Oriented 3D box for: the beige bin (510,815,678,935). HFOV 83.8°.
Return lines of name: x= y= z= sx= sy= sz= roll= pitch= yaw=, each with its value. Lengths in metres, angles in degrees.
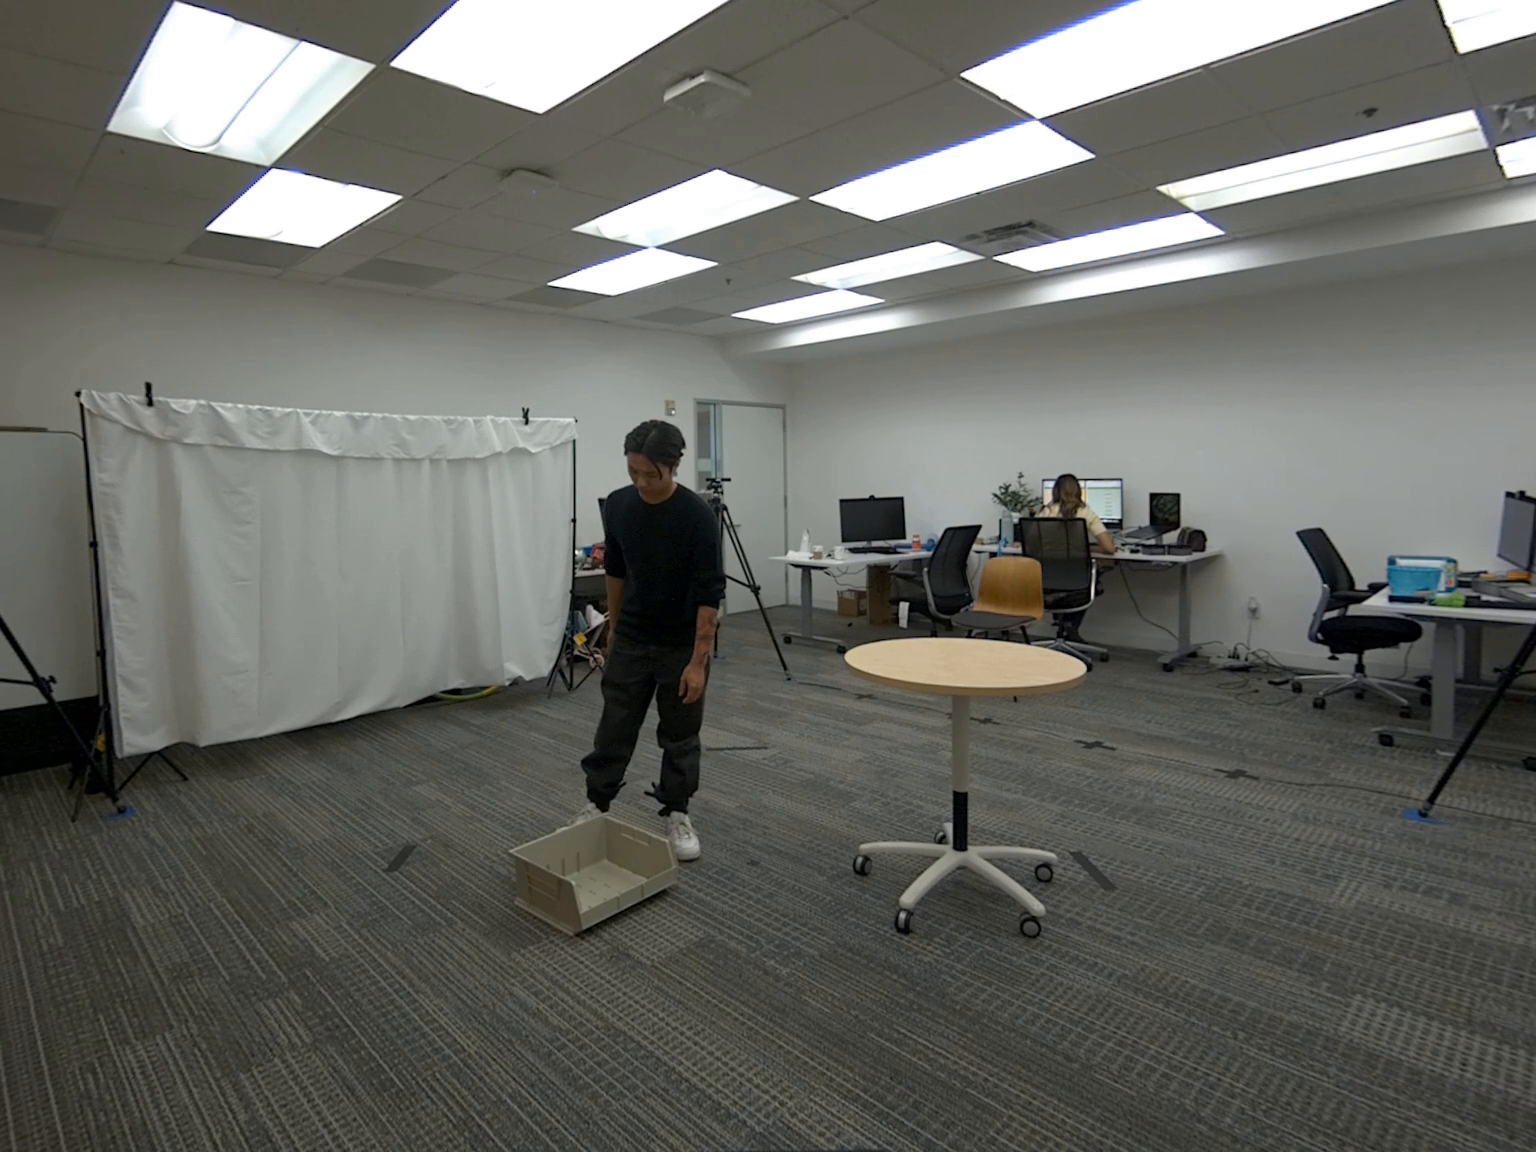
beige bin: x=-0.583 y=0.994 z=2.864 sx=0.389 sy=0.188 sz=0.412 roll=4 pitch=8 yaw=41
